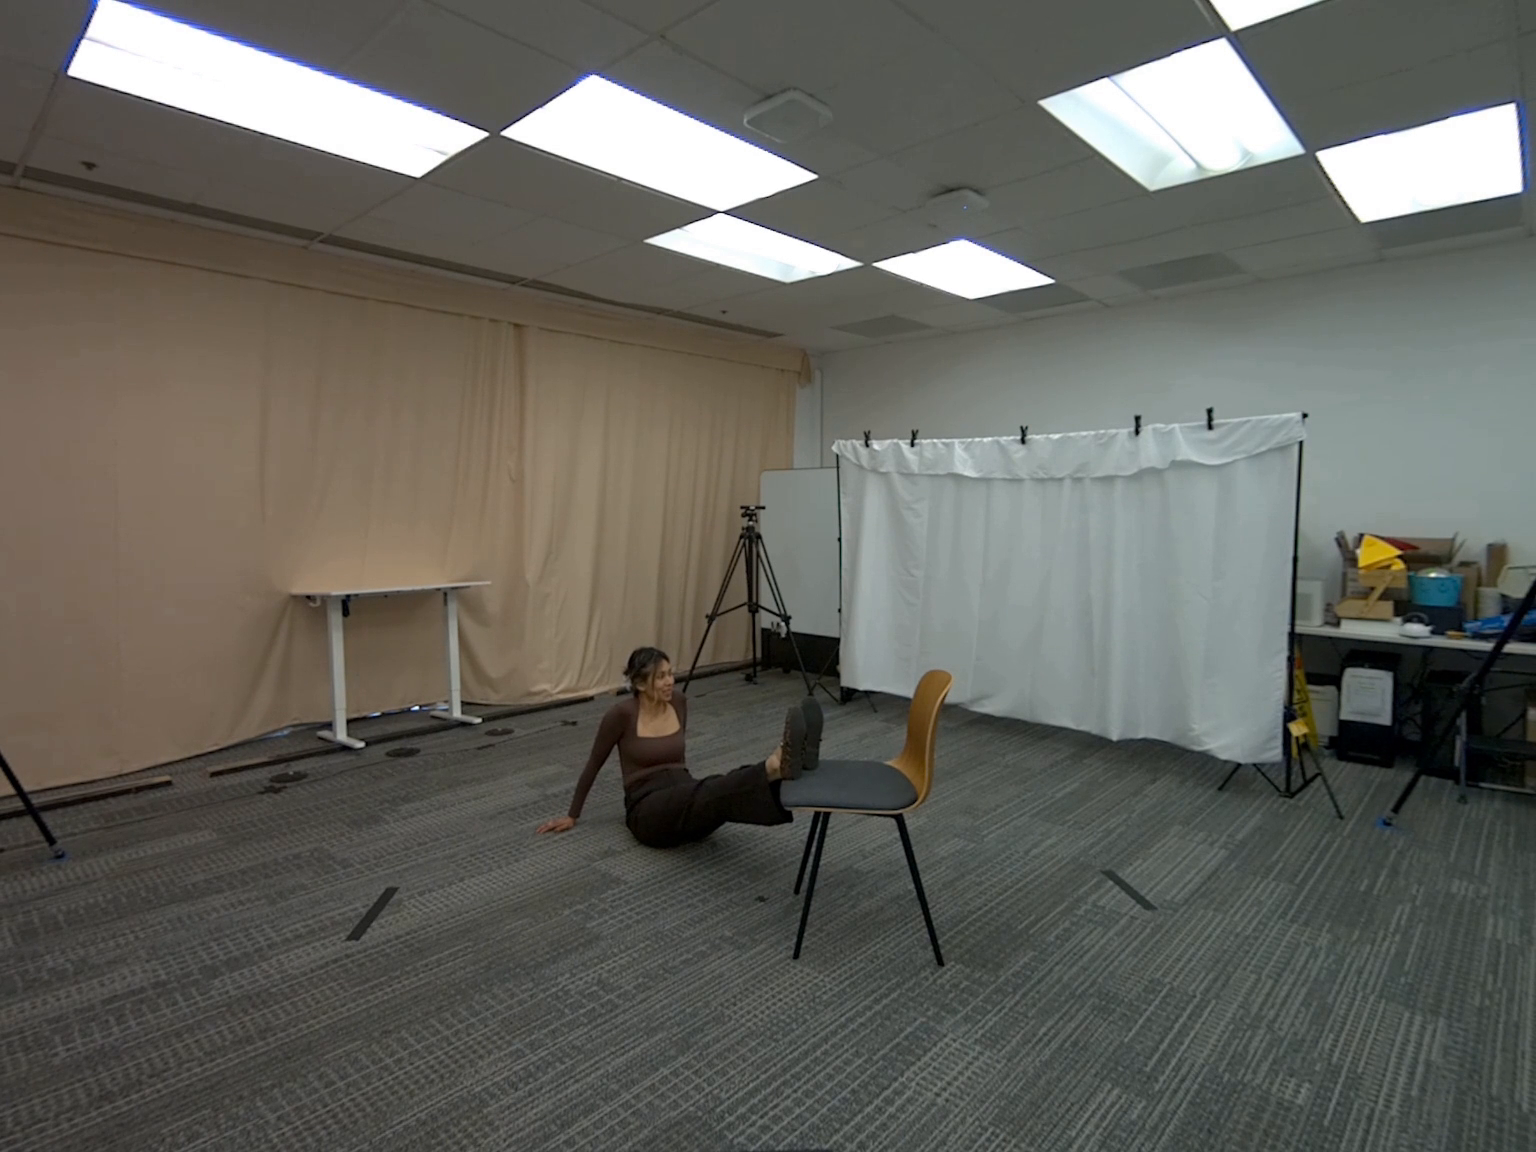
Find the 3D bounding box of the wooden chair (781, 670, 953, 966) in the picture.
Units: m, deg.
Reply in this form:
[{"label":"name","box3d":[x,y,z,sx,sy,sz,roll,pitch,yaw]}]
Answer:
[{"label":"wooden chair","box3d":[0.312,0.735,2.754,0.526,0.875,0.476,4,4,4]}]
